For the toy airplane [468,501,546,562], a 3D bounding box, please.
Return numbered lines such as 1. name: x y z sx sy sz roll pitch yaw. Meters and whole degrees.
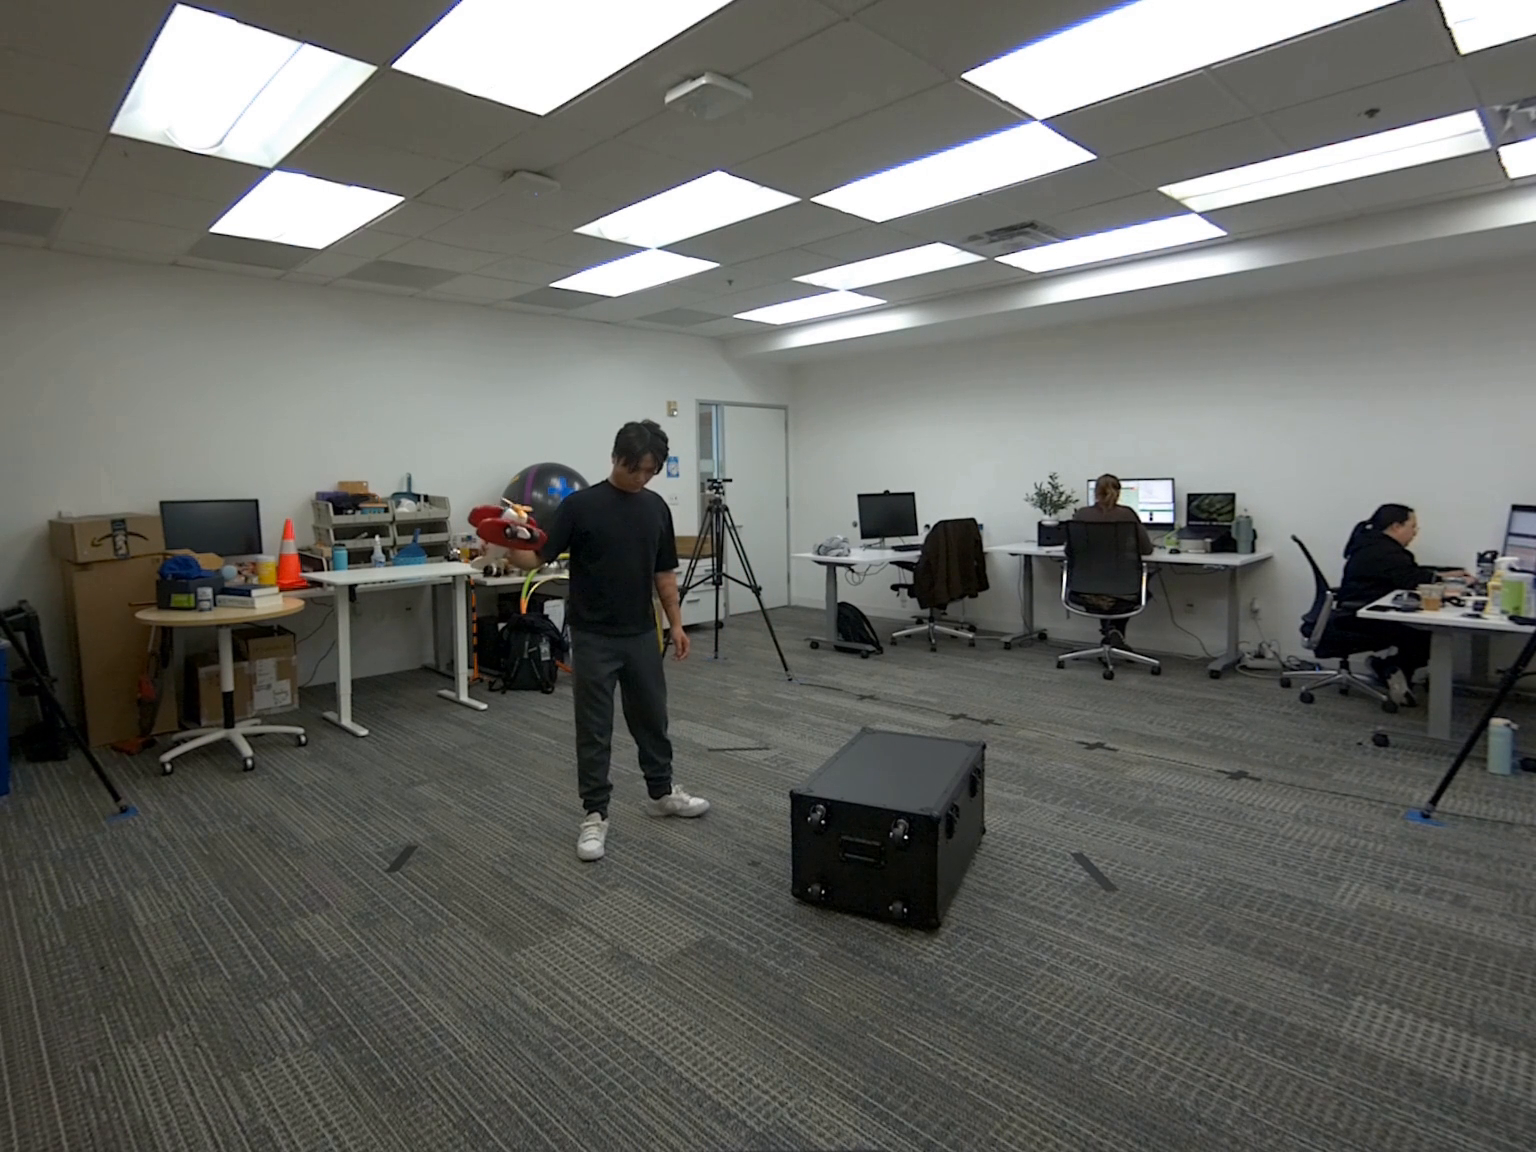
1. toy airplane: -0.890 -0.121 2.835 0.259 0.162 0.242 -28 -33 0
